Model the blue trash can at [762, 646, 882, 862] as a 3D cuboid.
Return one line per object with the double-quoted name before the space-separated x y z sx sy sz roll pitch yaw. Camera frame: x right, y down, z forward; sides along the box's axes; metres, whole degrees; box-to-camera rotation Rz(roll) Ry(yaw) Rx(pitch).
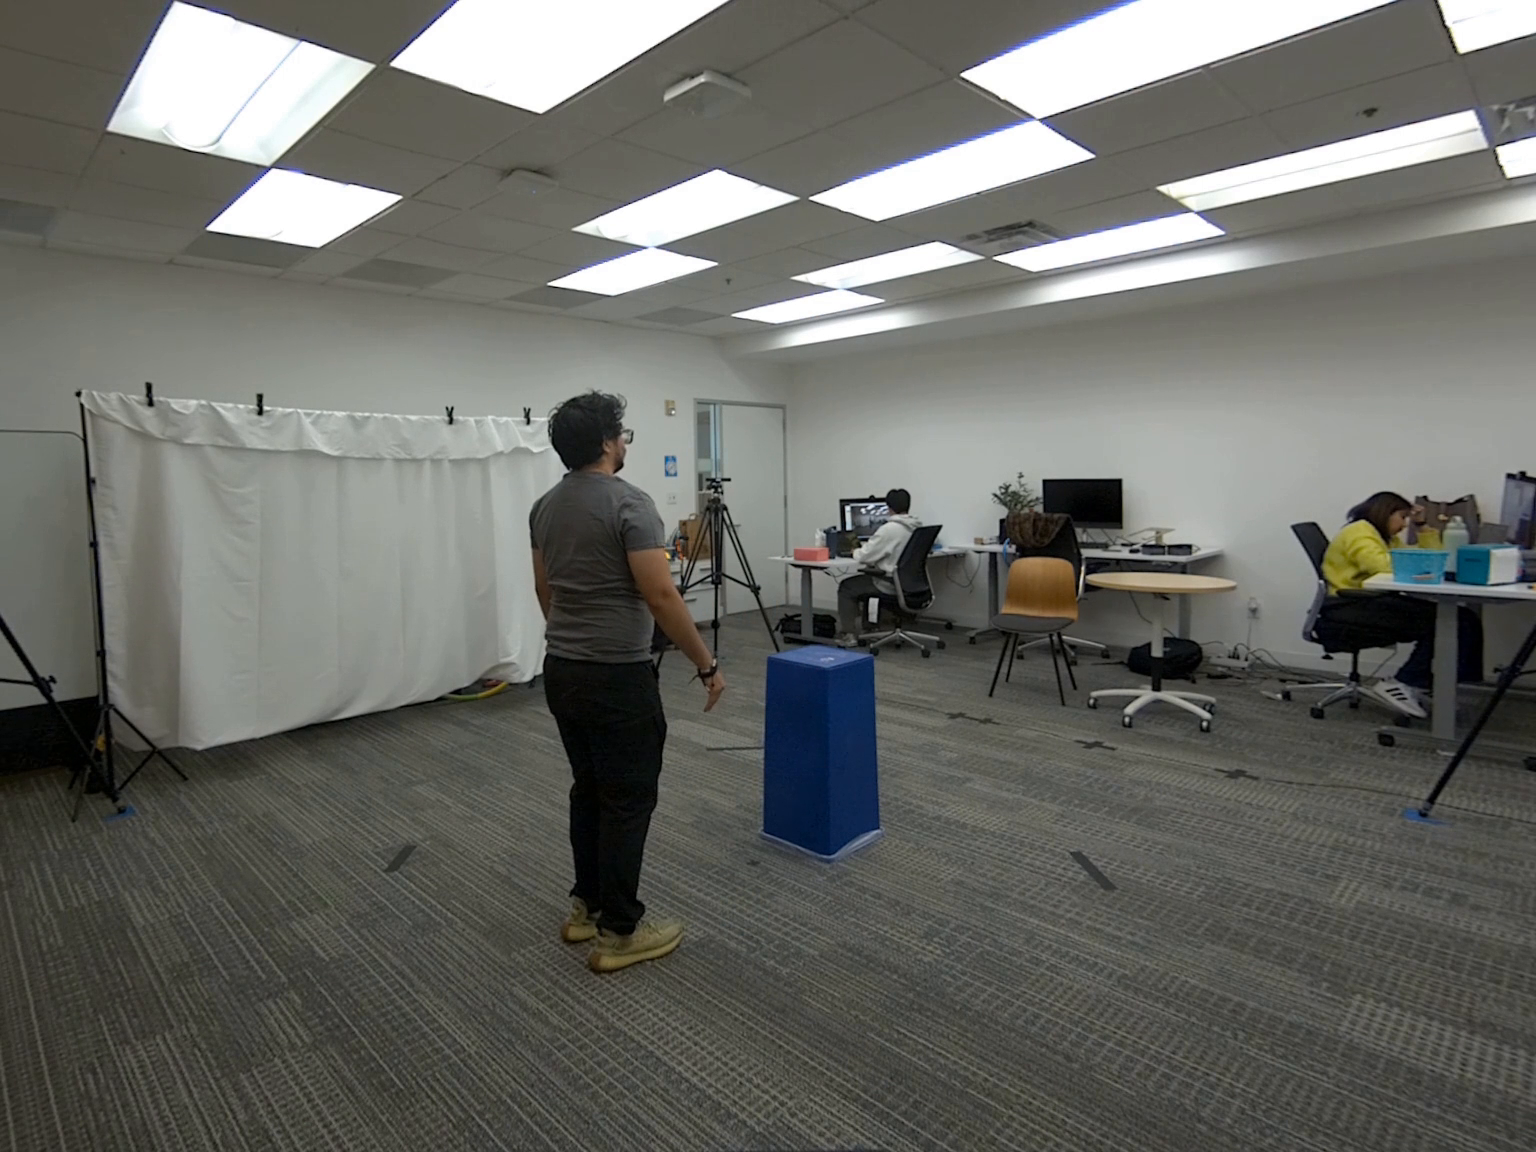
"blue trash can" 0.212 0.661 3.309 0.386 0.710 0.368 4 7 44
